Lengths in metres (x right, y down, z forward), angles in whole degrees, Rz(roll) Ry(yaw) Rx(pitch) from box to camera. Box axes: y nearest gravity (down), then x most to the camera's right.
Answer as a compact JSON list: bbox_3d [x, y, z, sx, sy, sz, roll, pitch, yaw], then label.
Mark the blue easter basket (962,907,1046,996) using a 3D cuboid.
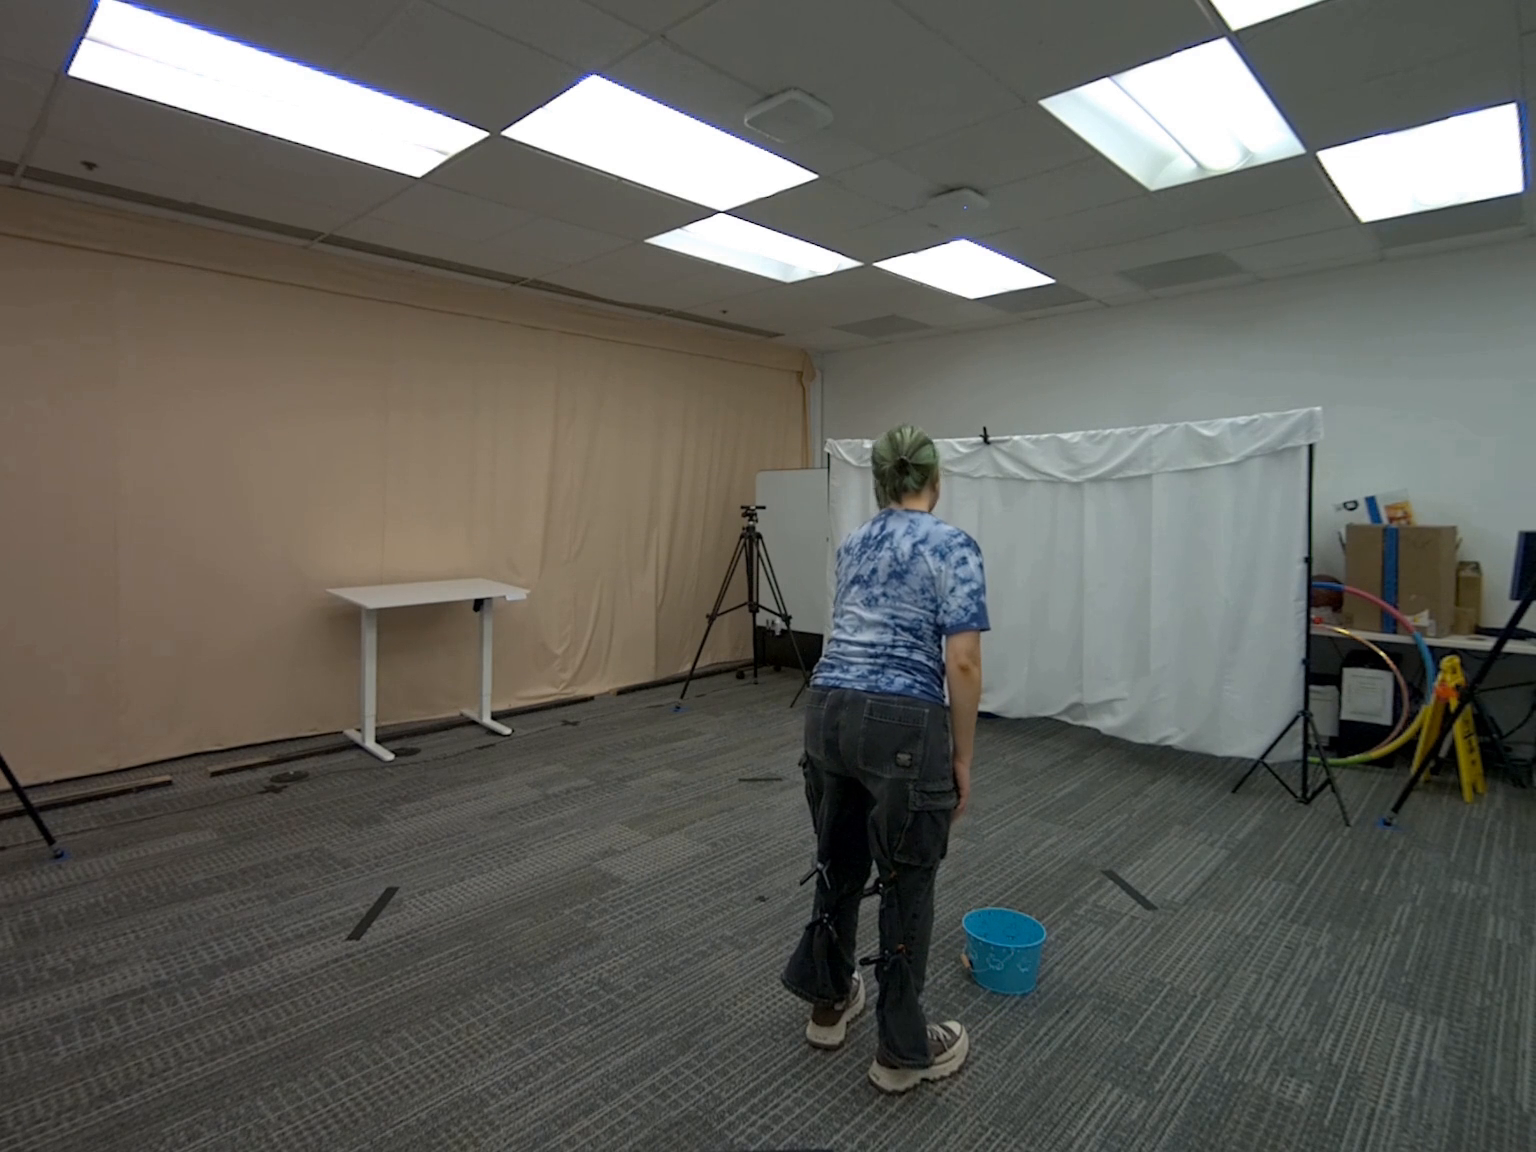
[{"bbox_3d":[0.698,1.106,2.482,0.243,0.155,0.244,0,3,-2],"label":"blue easter basket"}]
